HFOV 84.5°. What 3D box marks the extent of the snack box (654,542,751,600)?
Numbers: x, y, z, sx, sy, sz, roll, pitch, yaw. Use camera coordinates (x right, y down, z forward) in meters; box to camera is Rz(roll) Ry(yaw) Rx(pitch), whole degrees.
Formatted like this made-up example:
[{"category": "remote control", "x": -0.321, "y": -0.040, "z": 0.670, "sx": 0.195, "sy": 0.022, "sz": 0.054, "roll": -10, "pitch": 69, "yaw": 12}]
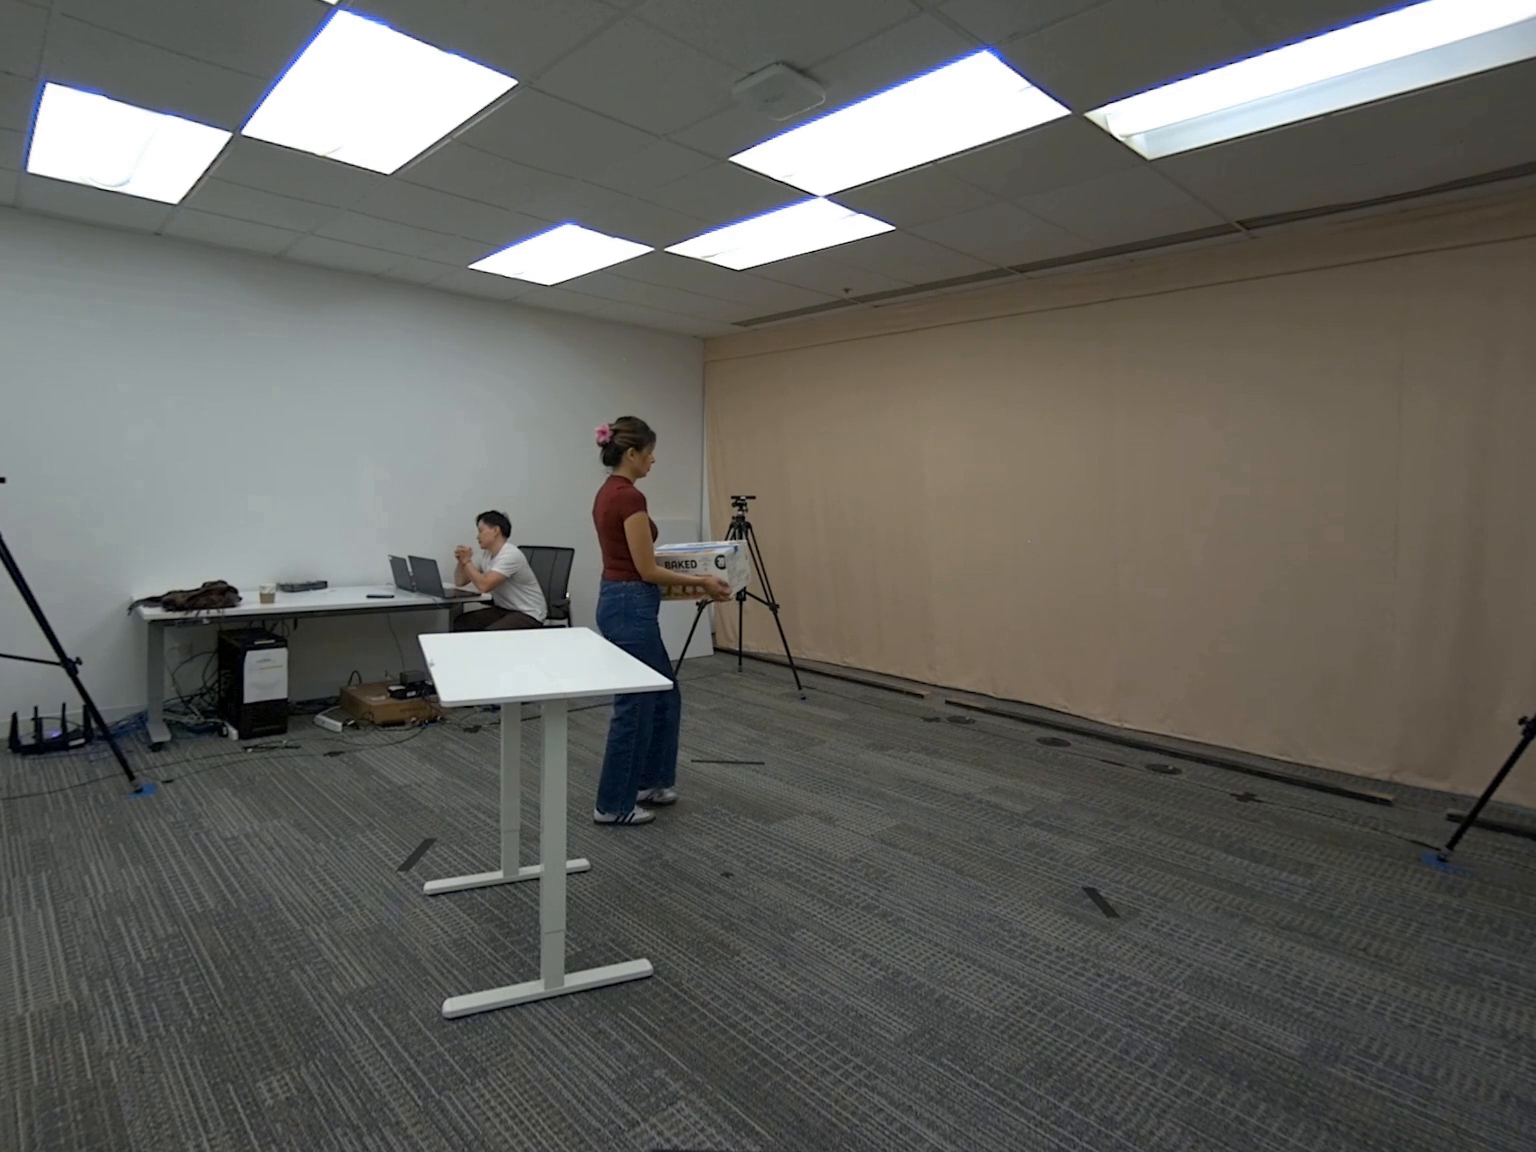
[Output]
[{"category": "snack box", "x": -0.328, "y": -0.029, "z": 3.774, "sx": 0.410, "sy": 0.204, "sz": 0.338, "roll": -1, "pitch": 10, "yaw": 16}]
